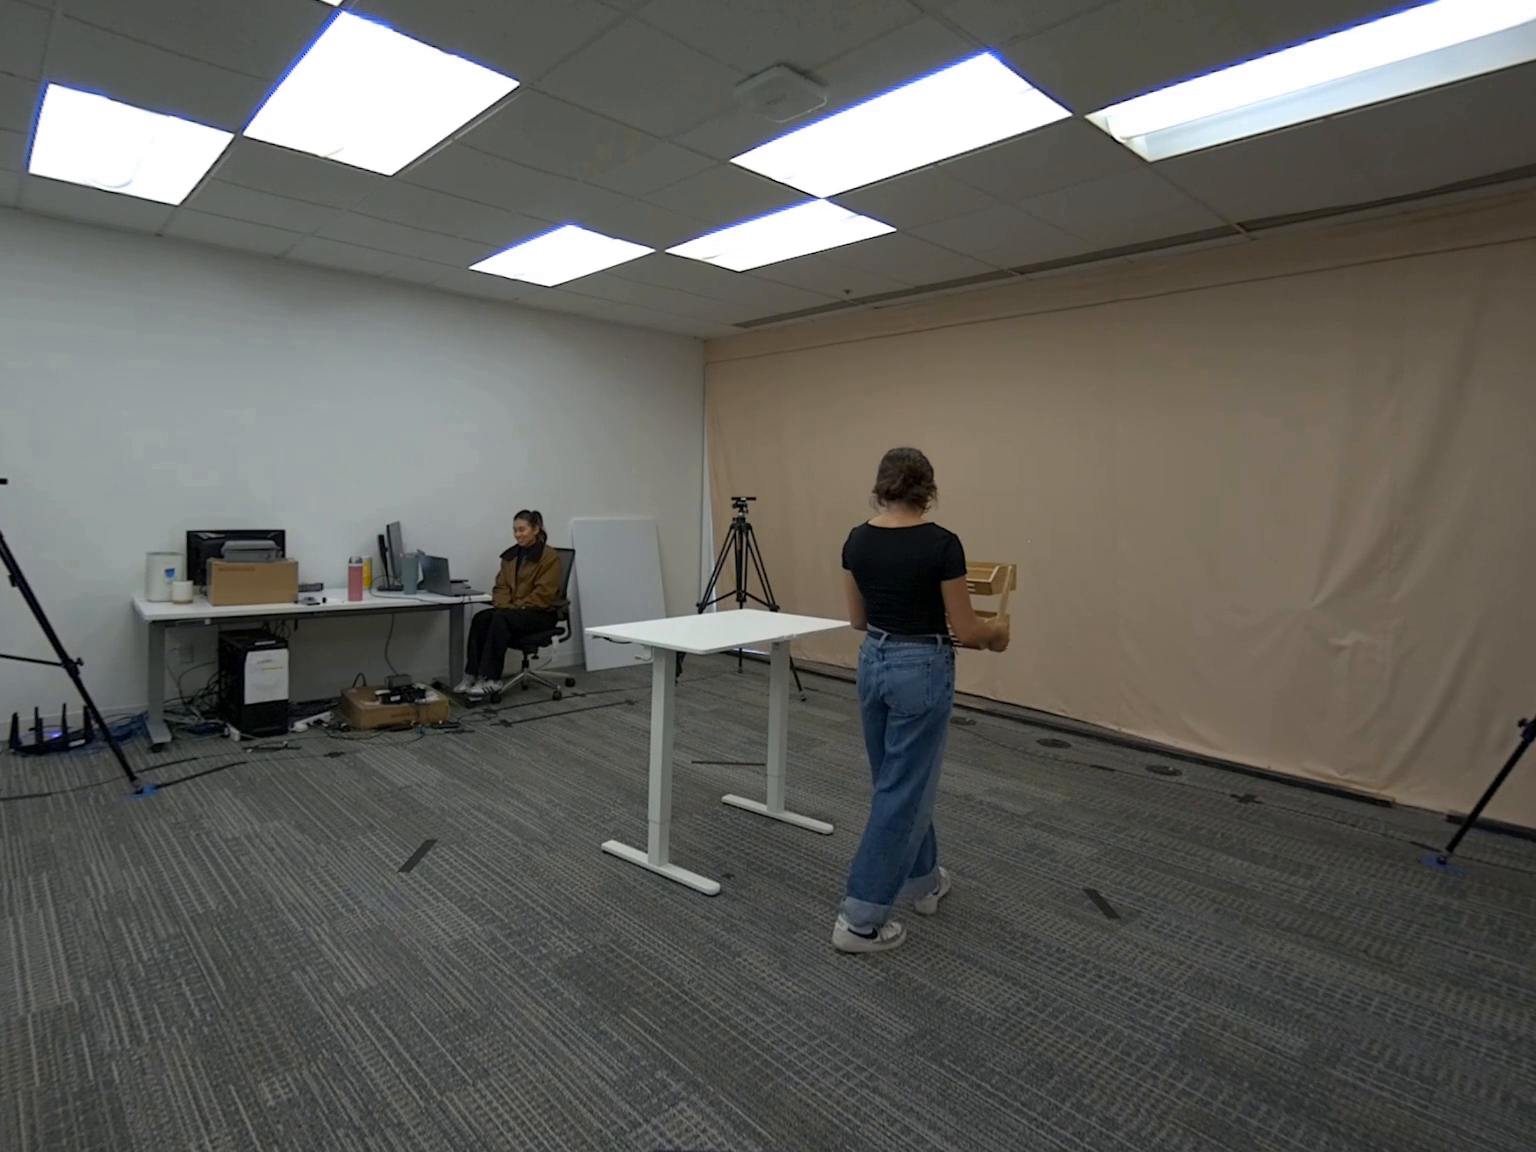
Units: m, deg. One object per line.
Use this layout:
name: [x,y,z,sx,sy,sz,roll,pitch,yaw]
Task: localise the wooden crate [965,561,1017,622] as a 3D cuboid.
wooden crate: [0.643,0.085,2.895,0.332,0.272,0.295,5,7,39]
